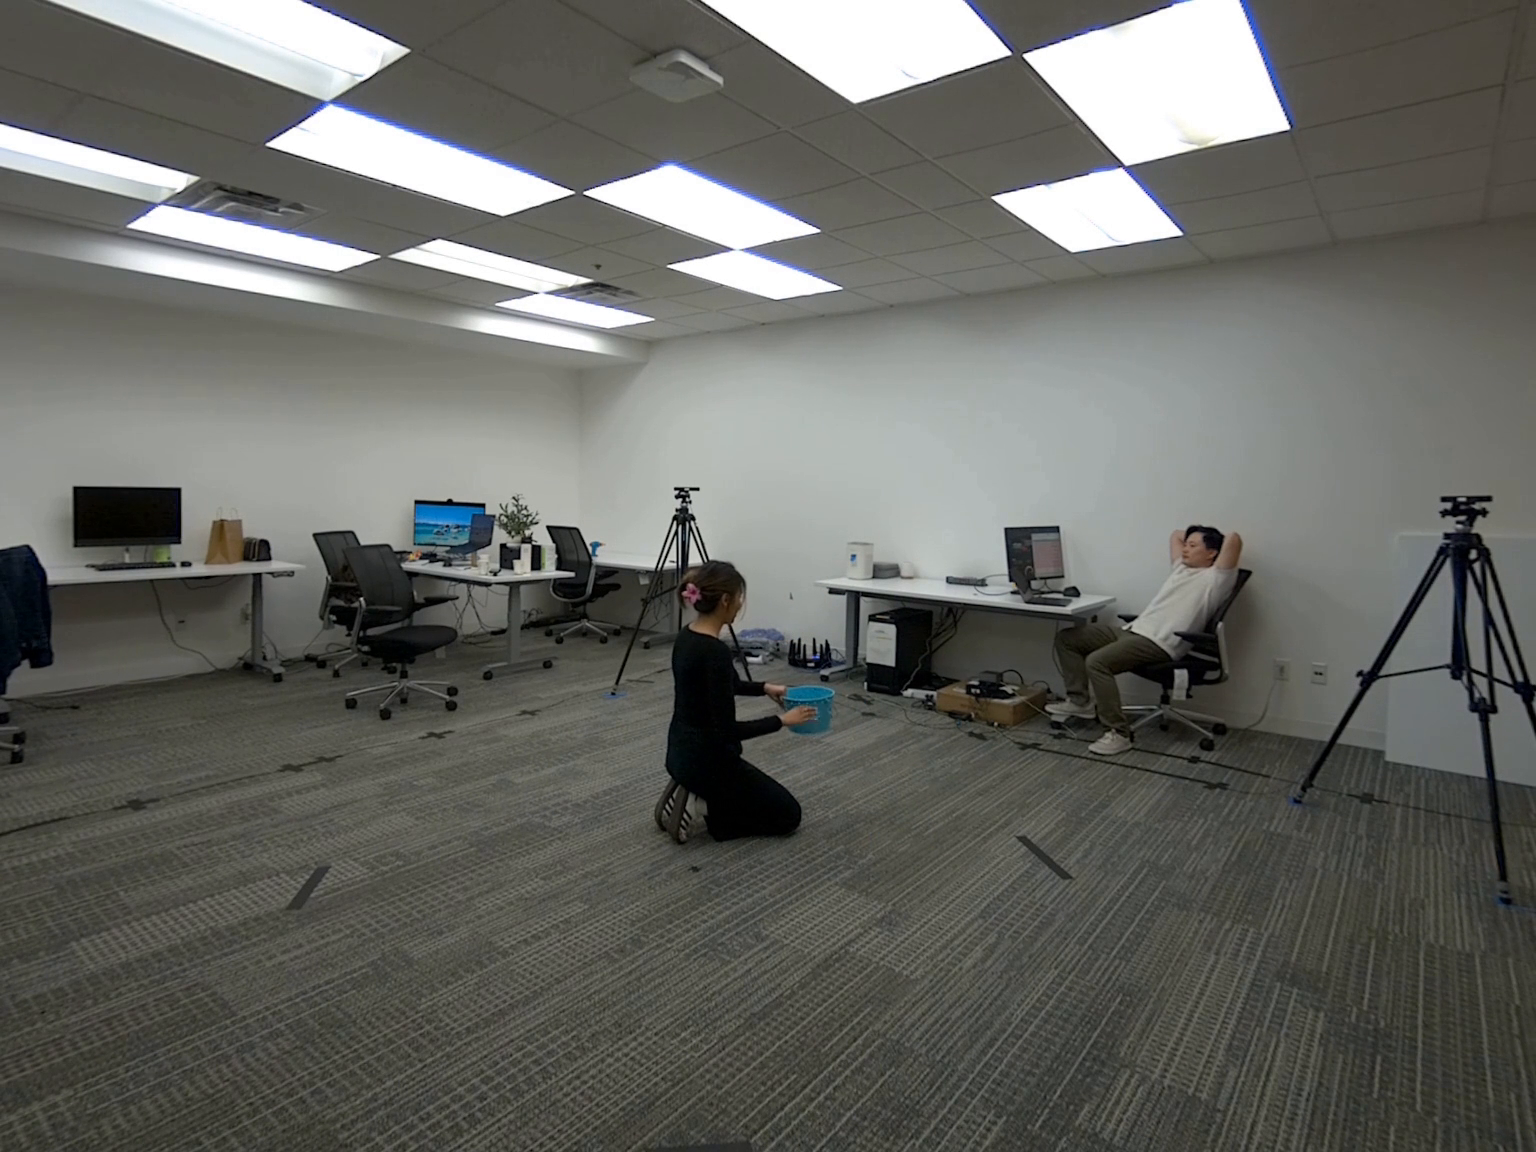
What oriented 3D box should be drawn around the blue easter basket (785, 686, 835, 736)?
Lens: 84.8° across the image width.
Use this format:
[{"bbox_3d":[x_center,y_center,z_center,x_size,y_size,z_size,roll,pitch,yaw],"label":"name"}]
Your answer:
[{"bbox_3d":[0.163,0.576,3.642,0.243,0.155,0.245,-3,6,-2],"label":"blue easter basket"}]
